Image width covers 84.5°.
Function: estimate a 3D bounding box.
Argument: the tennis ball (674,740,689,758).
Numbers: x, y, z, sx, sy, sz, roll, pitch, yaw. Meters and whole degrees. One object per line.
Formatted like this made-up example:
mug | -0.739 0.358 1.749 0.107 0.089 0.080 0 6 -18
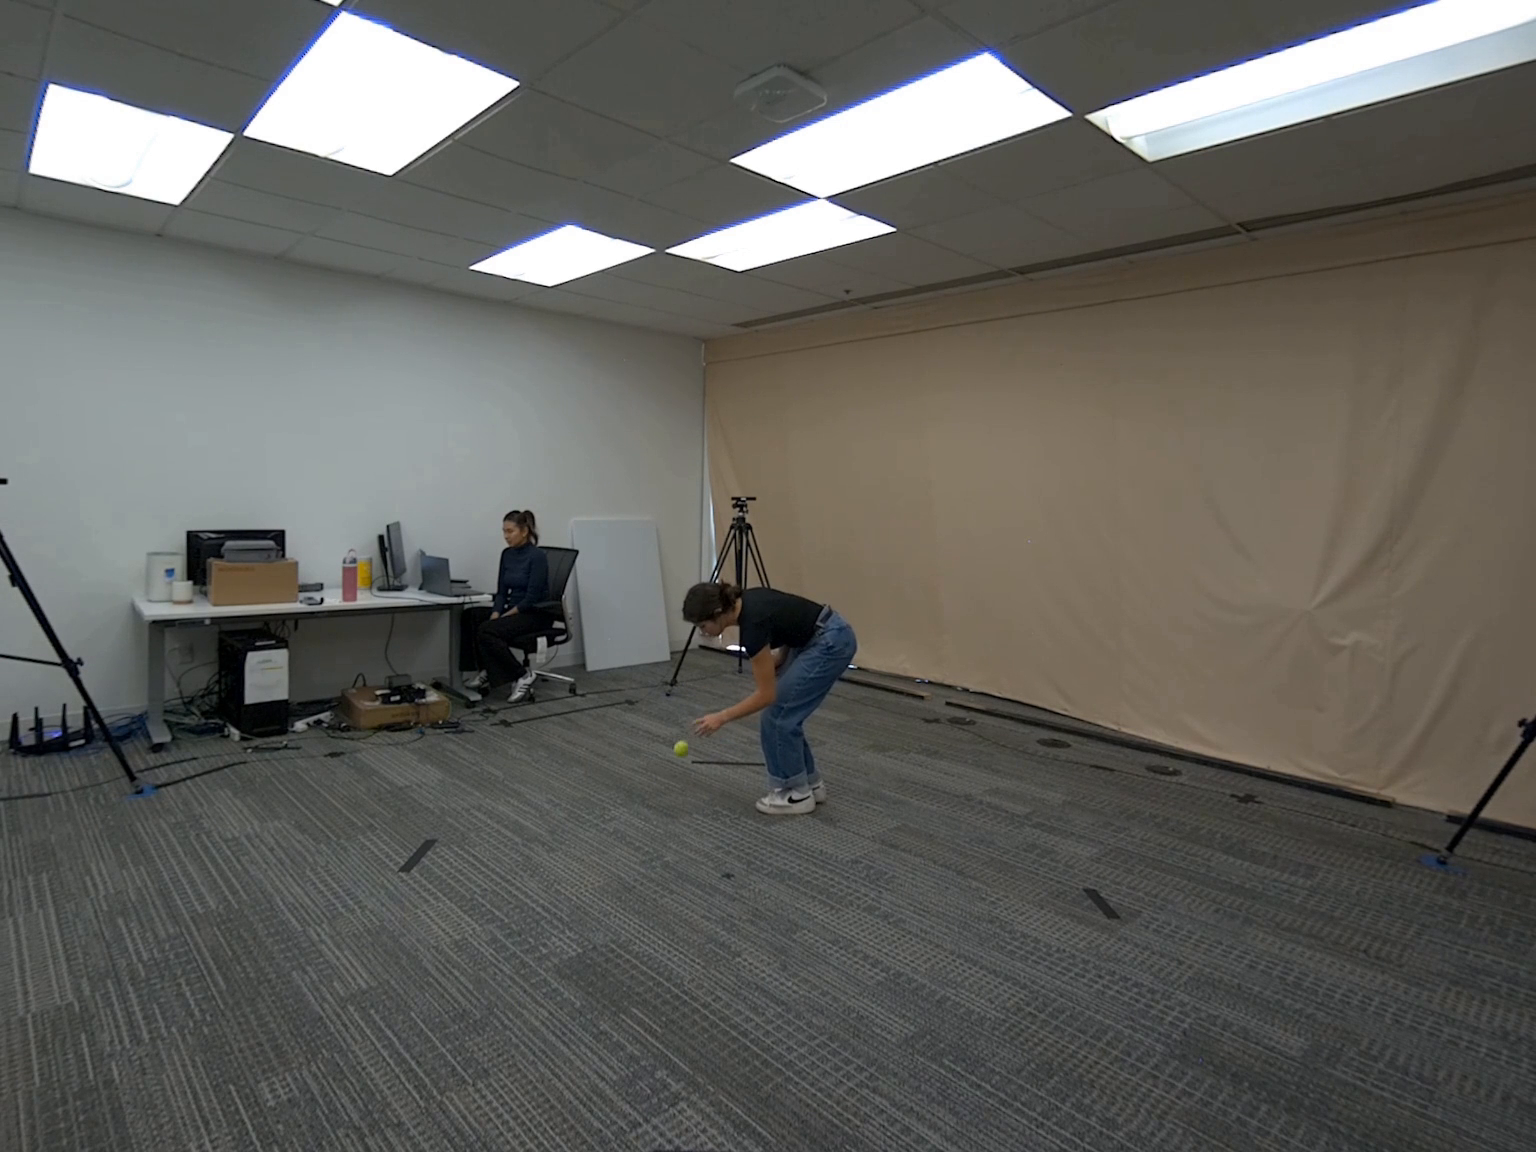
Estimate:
tennis ball | -0.393 0.768 3.731 0.066 0.066 0.067 1 4 -1
